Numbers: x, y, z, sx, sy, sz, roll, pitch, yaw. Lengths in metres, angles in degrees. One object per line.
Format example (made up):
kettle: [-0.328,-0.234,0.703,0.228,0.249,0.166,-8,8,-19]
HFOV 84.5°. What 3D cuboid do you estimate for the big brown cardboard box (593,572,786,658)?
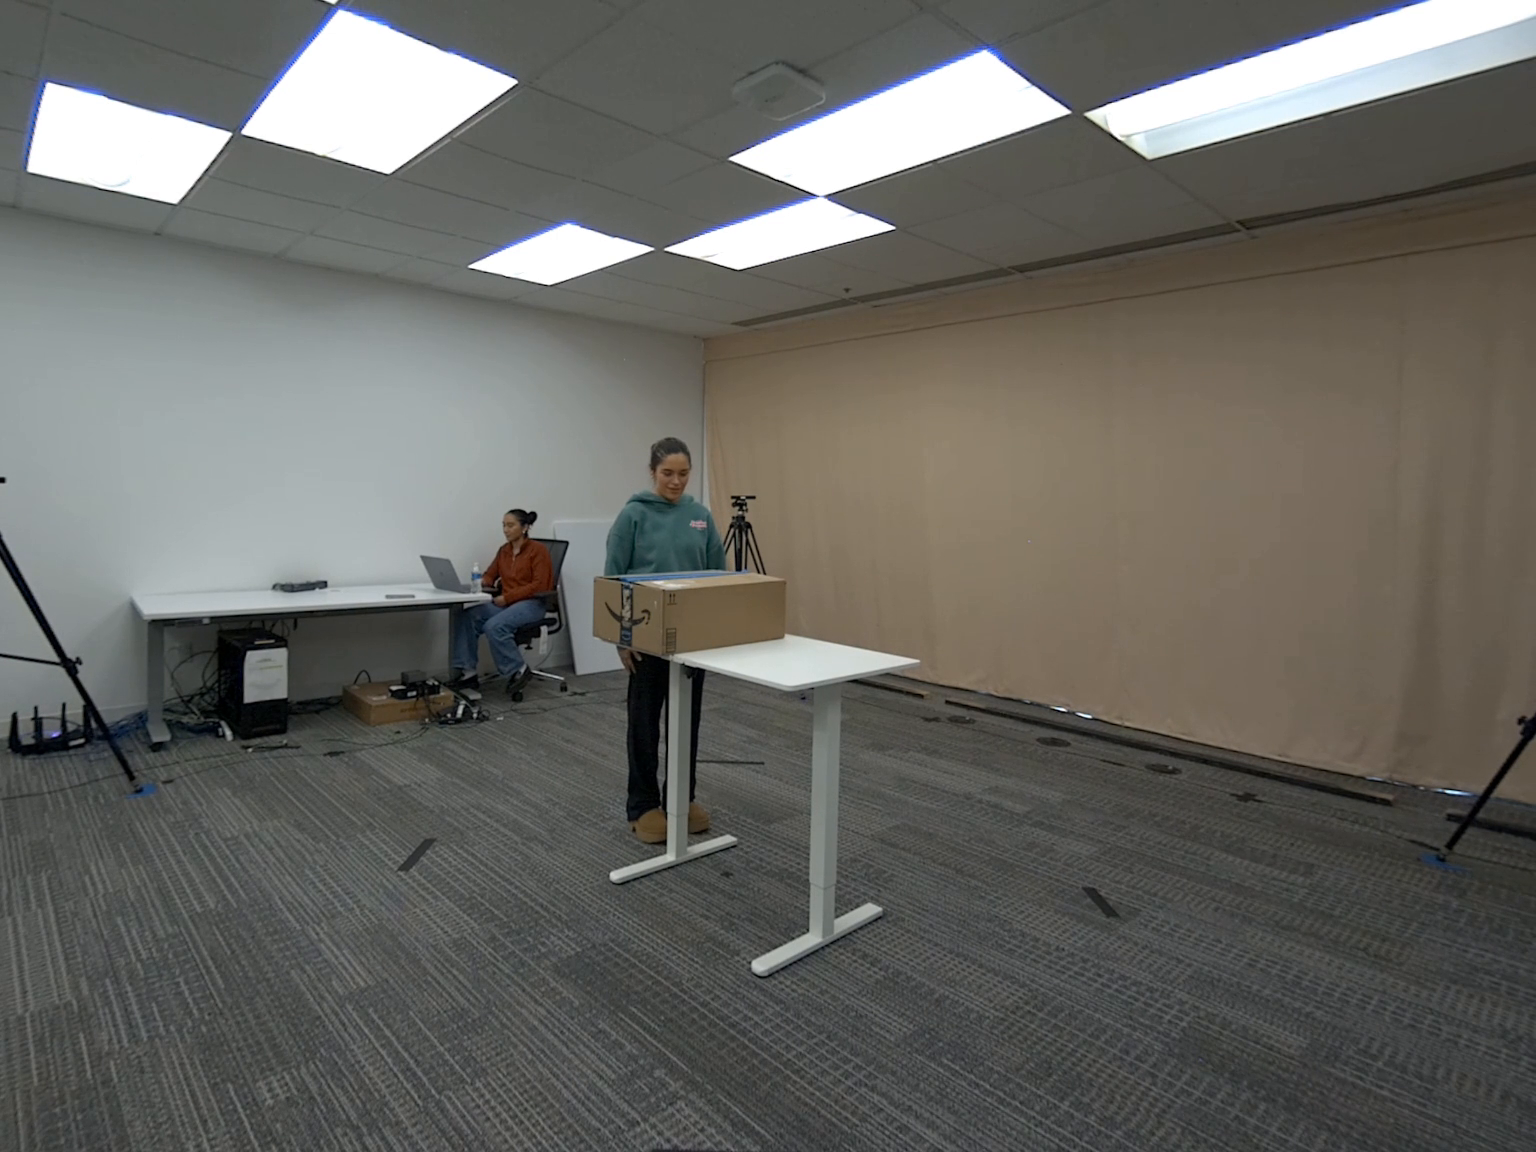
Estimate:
big brown cardboard box: [-0.289,0.116,3.020,0.575,0.232,0.428,-3,7,-44]
